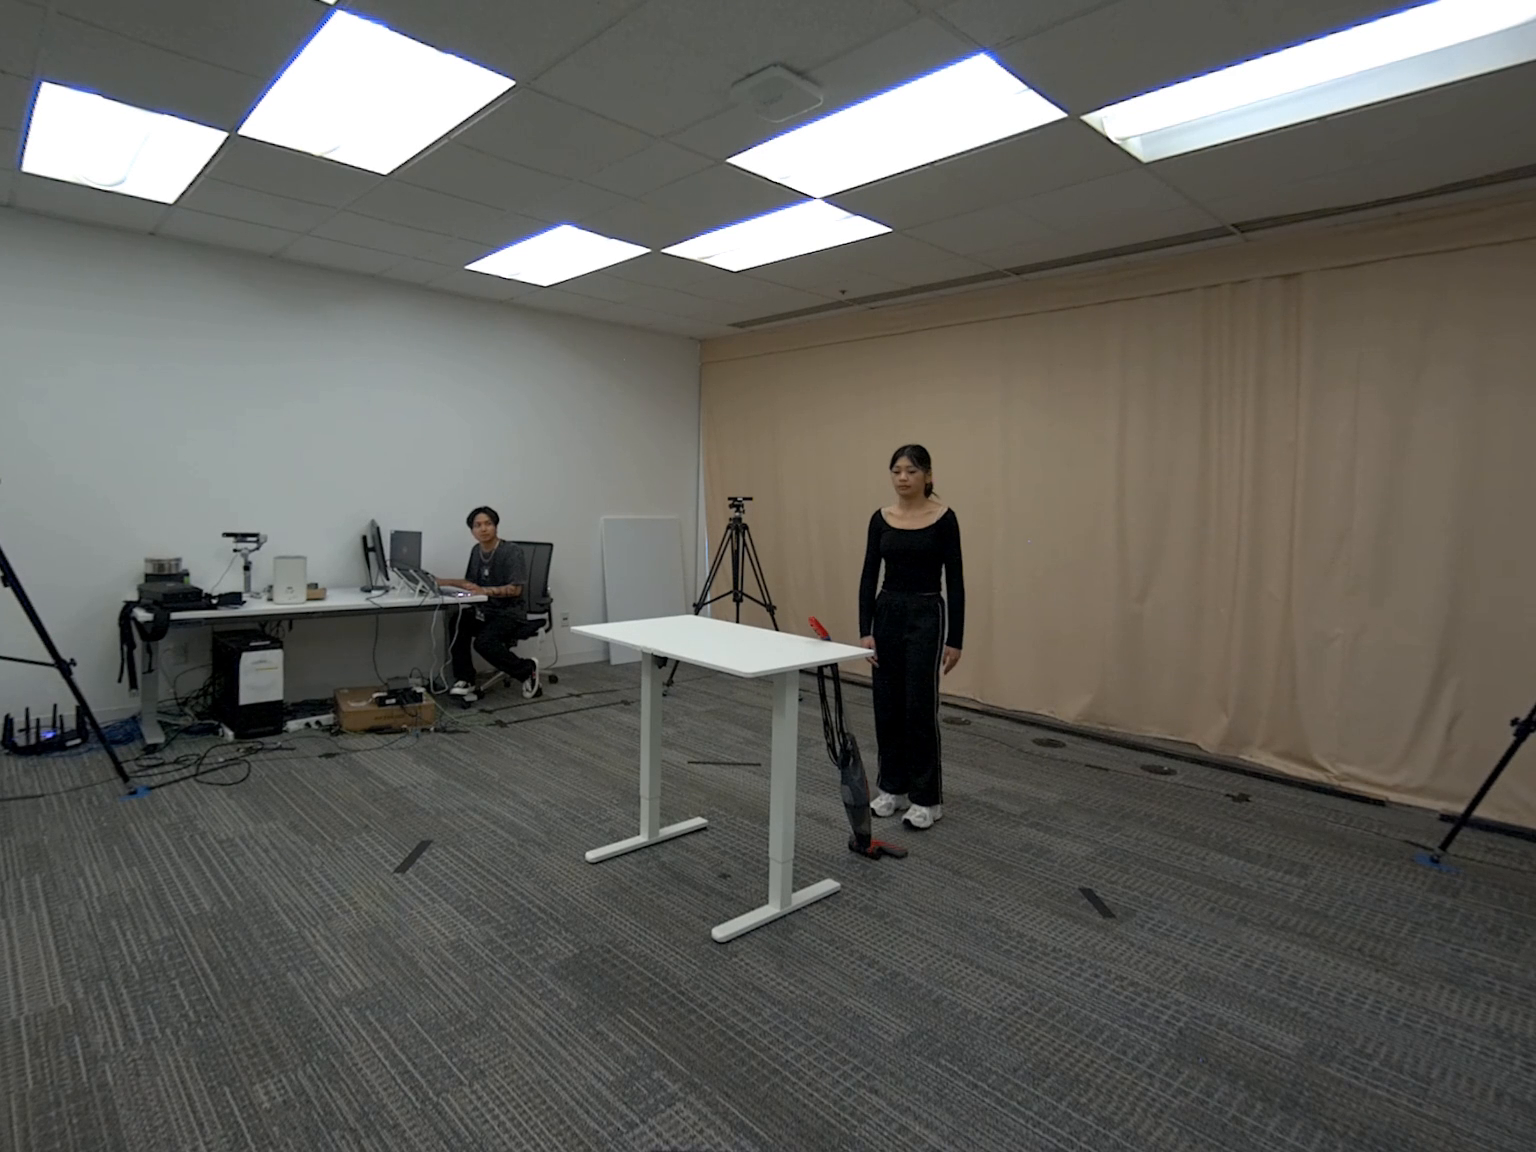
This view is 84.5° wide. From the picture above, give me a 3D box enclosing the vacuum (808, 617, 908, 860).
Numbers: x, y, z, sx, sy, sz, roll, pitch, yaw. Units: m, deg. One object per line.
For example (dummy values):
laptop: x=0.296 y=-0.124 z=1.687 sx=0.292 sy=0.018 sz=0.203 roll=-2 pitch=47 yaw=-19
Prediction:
vacuum: x=0.286 y=0.631 z=3.186 sx=0.259 sy=1.031 sz=0.143 roll=8 pitch=30 yaw=46
